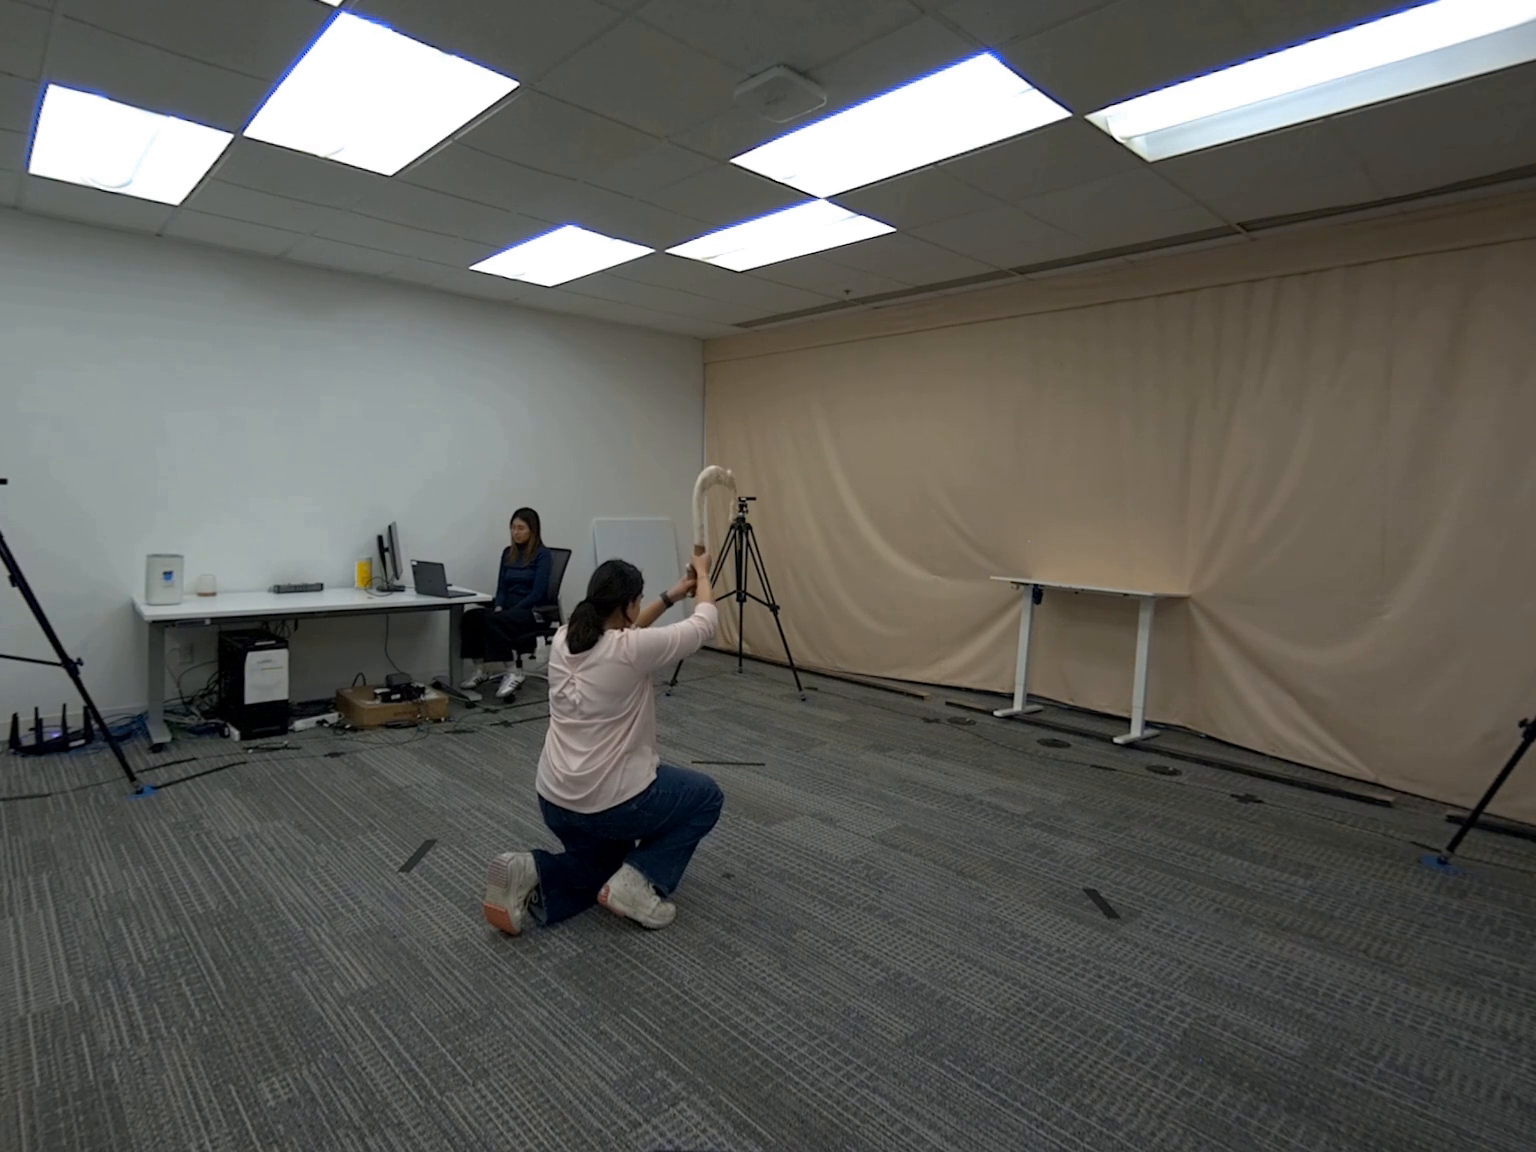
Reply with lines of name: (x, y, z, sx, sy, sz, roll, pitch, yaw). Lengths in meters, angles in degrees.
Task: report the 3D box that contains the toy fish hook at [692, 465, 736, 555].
toy fish hook: (-0.230, -0.151, 3.182, 0.218, 0.508, 0.049, 12, -4, -37)
